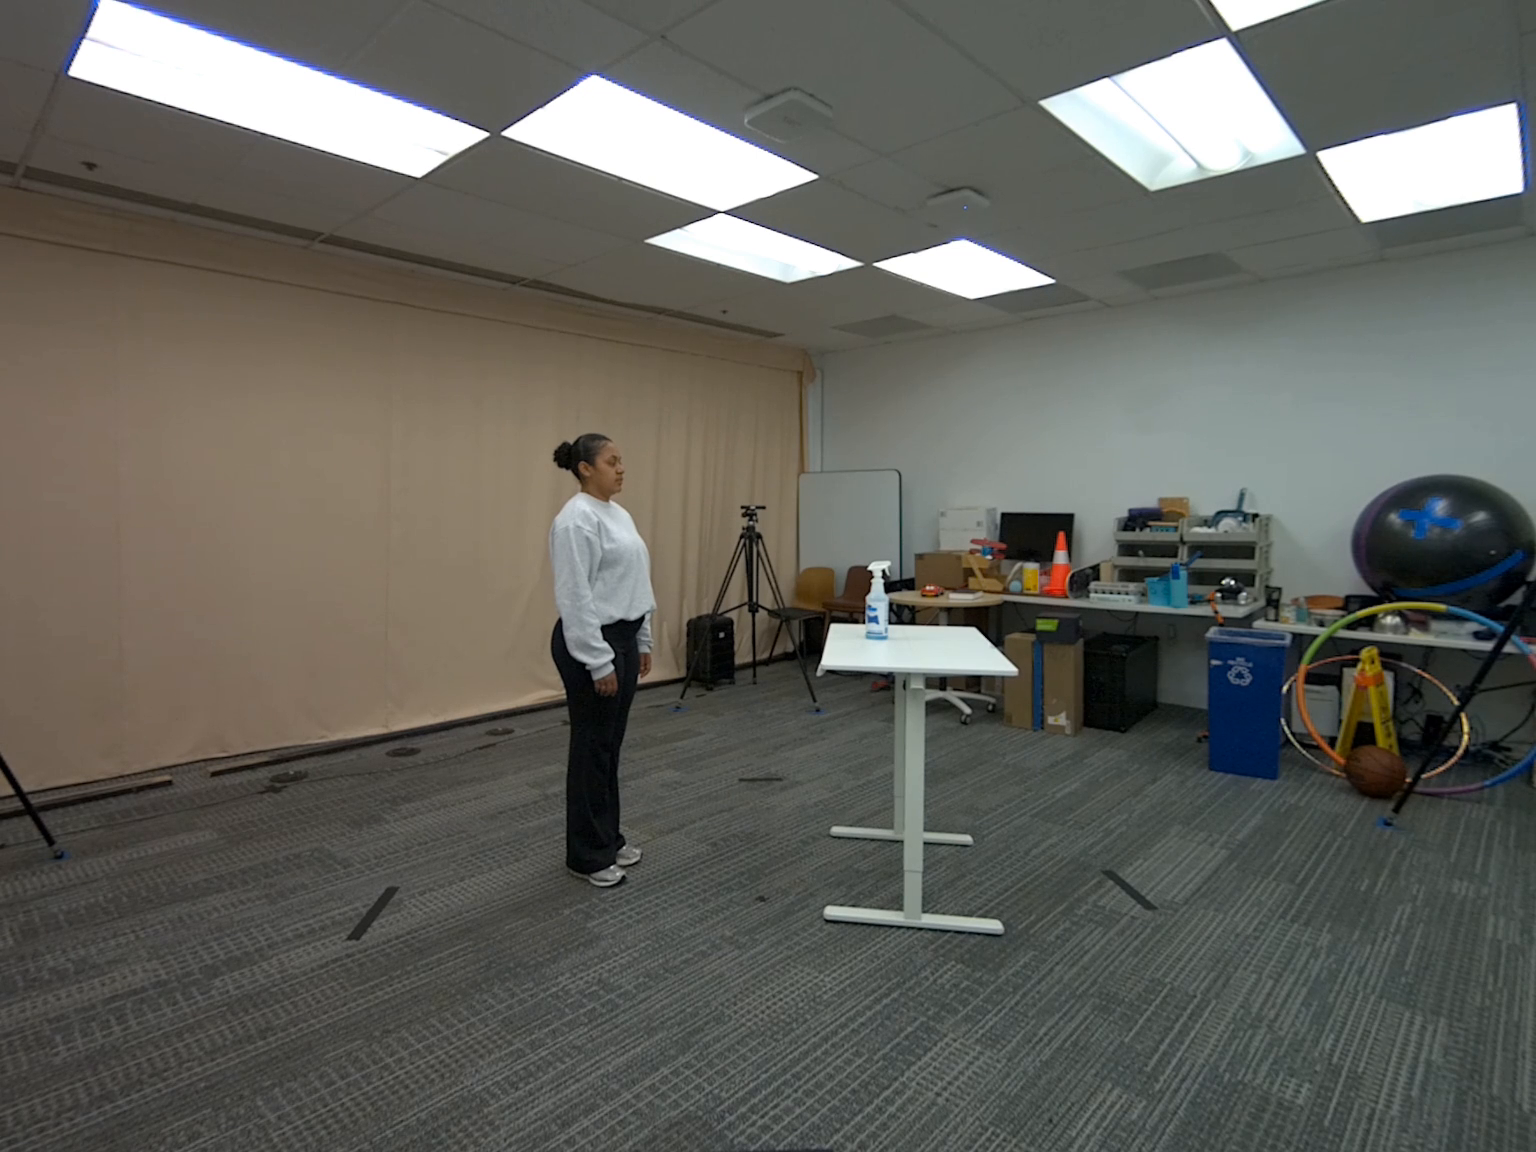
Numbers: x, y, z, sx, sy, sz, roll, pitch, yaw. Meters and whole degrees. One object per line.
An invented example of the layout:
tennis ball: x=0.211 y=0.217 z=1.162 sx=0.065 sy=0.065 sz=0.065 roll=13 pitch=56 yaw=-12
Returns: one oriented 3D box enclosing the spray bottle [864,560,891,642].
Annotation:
spray bottle: x=0.425 y=0.096 z=3.222 sx=0.091 sy=0.297 sz=0.086 roll=2 pitch=2 yaw=10
